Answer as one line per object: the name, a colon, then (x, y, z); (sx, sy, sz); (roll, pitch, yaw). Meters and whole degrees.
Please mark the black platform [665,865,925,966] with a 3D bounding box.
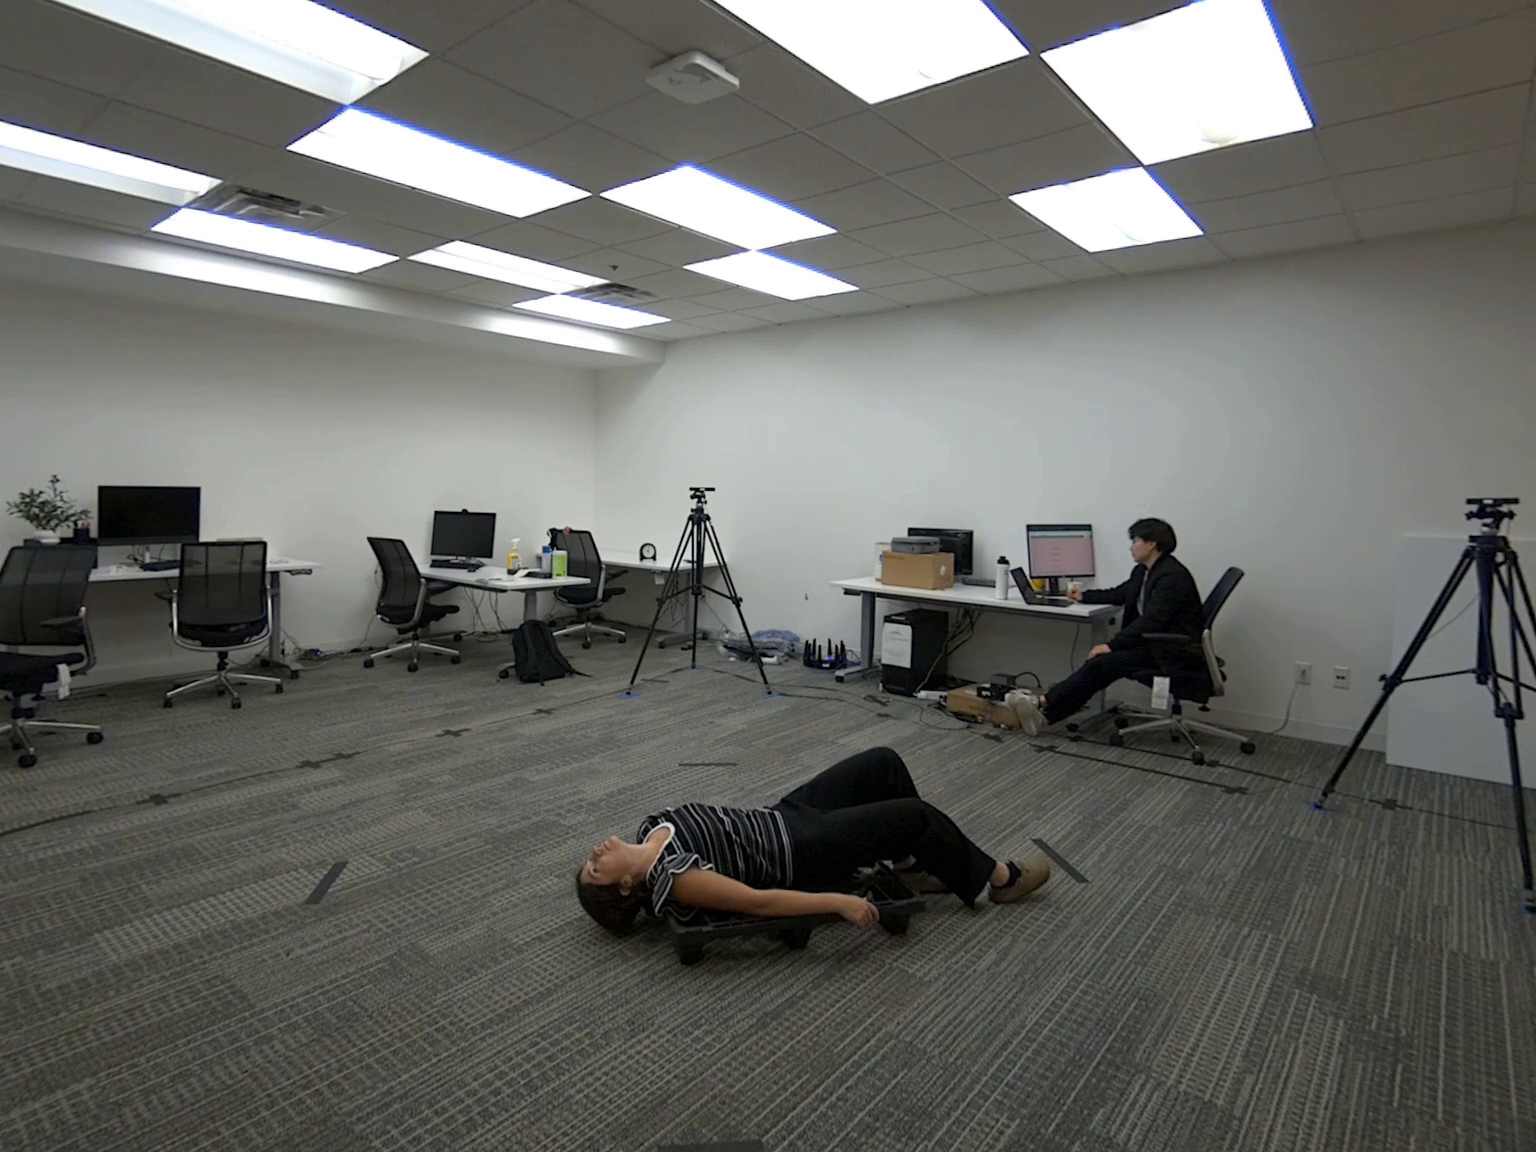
black platform: (0.014, 1.038, 2.788); (0.791, 0.143, 0.617); (0, 4, -18)
